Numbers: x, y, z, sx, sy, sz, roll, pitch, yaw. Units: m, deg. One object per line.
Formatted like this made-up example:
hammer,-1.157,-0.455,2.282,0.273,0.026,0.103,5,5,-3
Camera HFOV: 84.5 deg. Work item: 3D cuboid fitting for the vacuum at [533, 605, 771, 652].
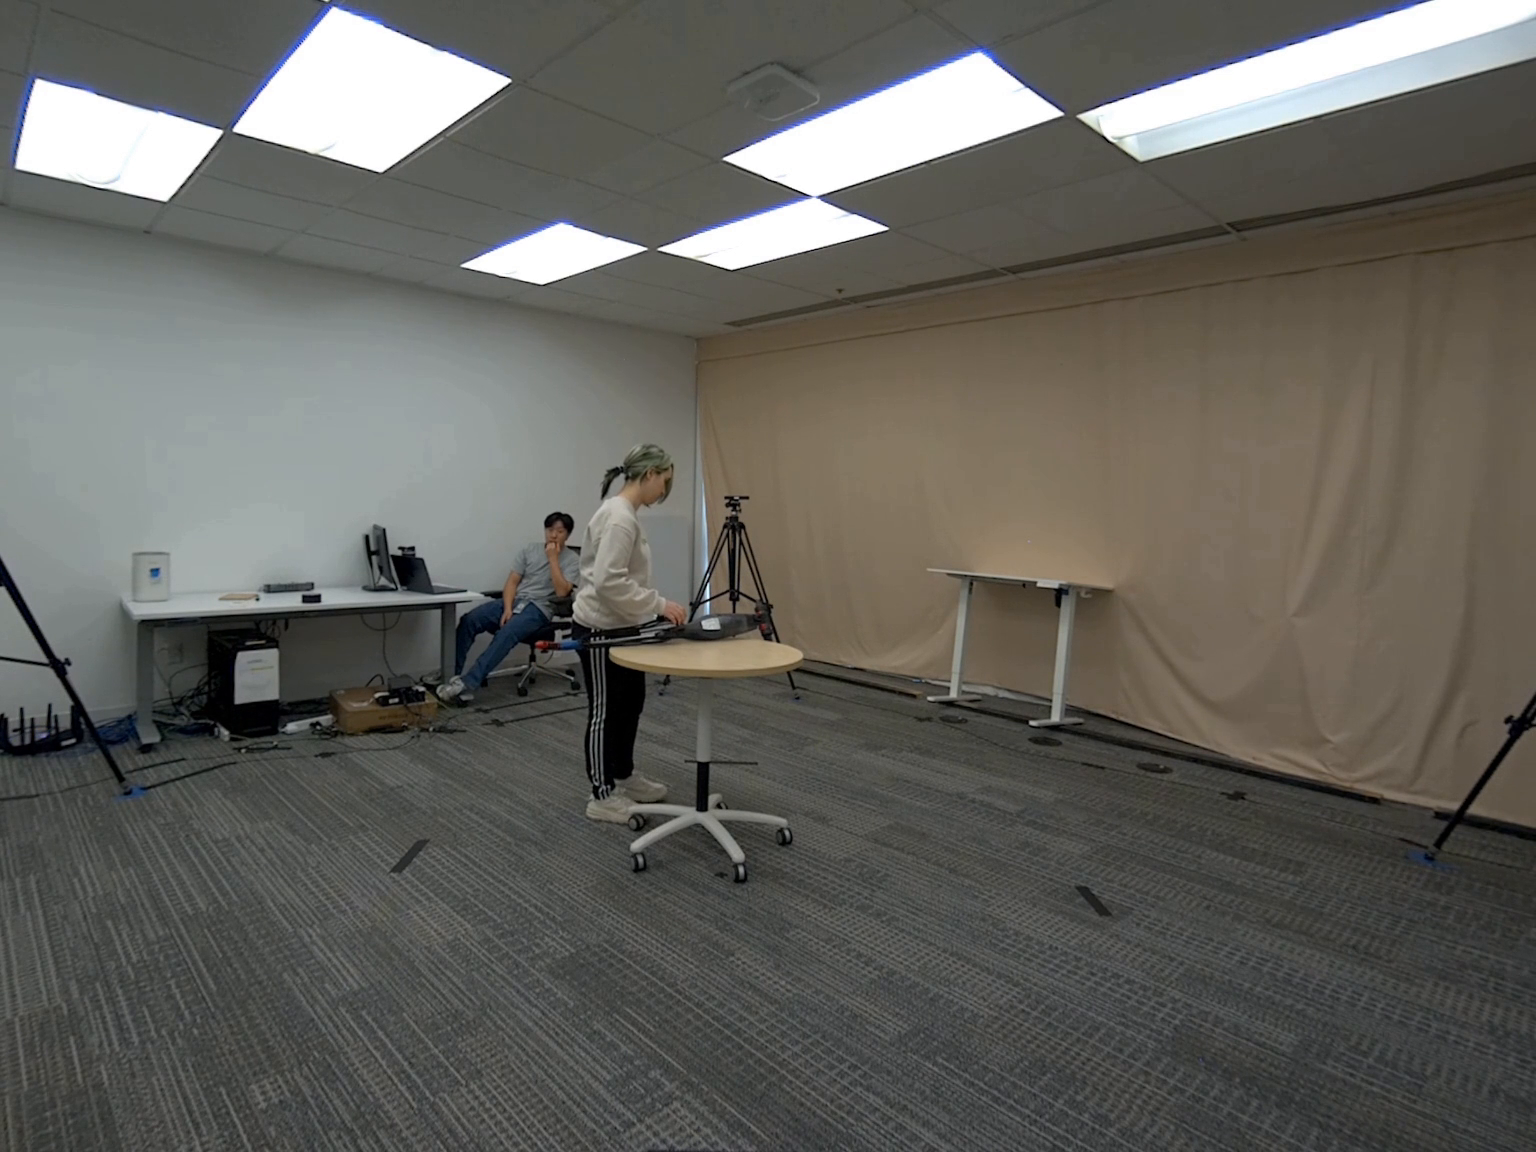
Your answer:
vacuum,-0.450,0.245,3.506,1.030,0.258,0.143,-4,-28,-28
